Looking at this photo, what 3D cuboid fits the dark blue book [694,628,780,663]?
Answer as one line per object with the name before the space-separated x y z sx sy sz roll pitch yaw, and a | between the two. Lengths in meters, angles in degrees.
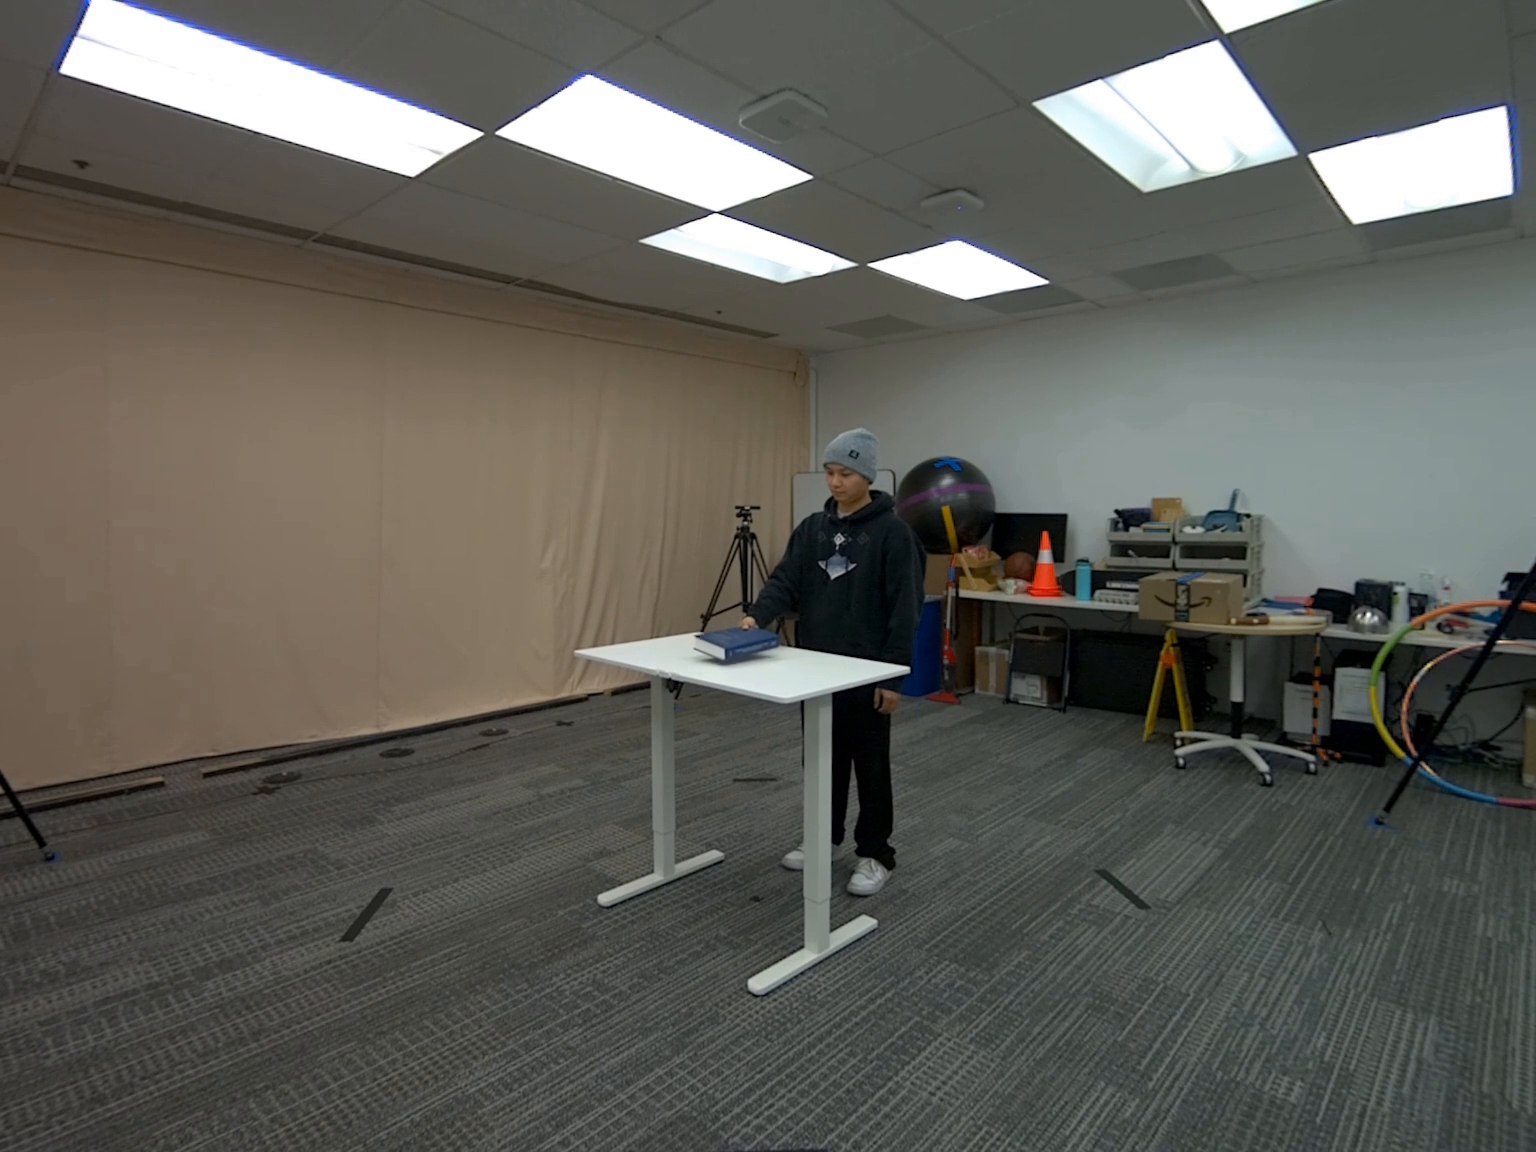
dark blue book | -0.097 0.221 2.804 0.238 0.045 0.169 -8 15 -40
